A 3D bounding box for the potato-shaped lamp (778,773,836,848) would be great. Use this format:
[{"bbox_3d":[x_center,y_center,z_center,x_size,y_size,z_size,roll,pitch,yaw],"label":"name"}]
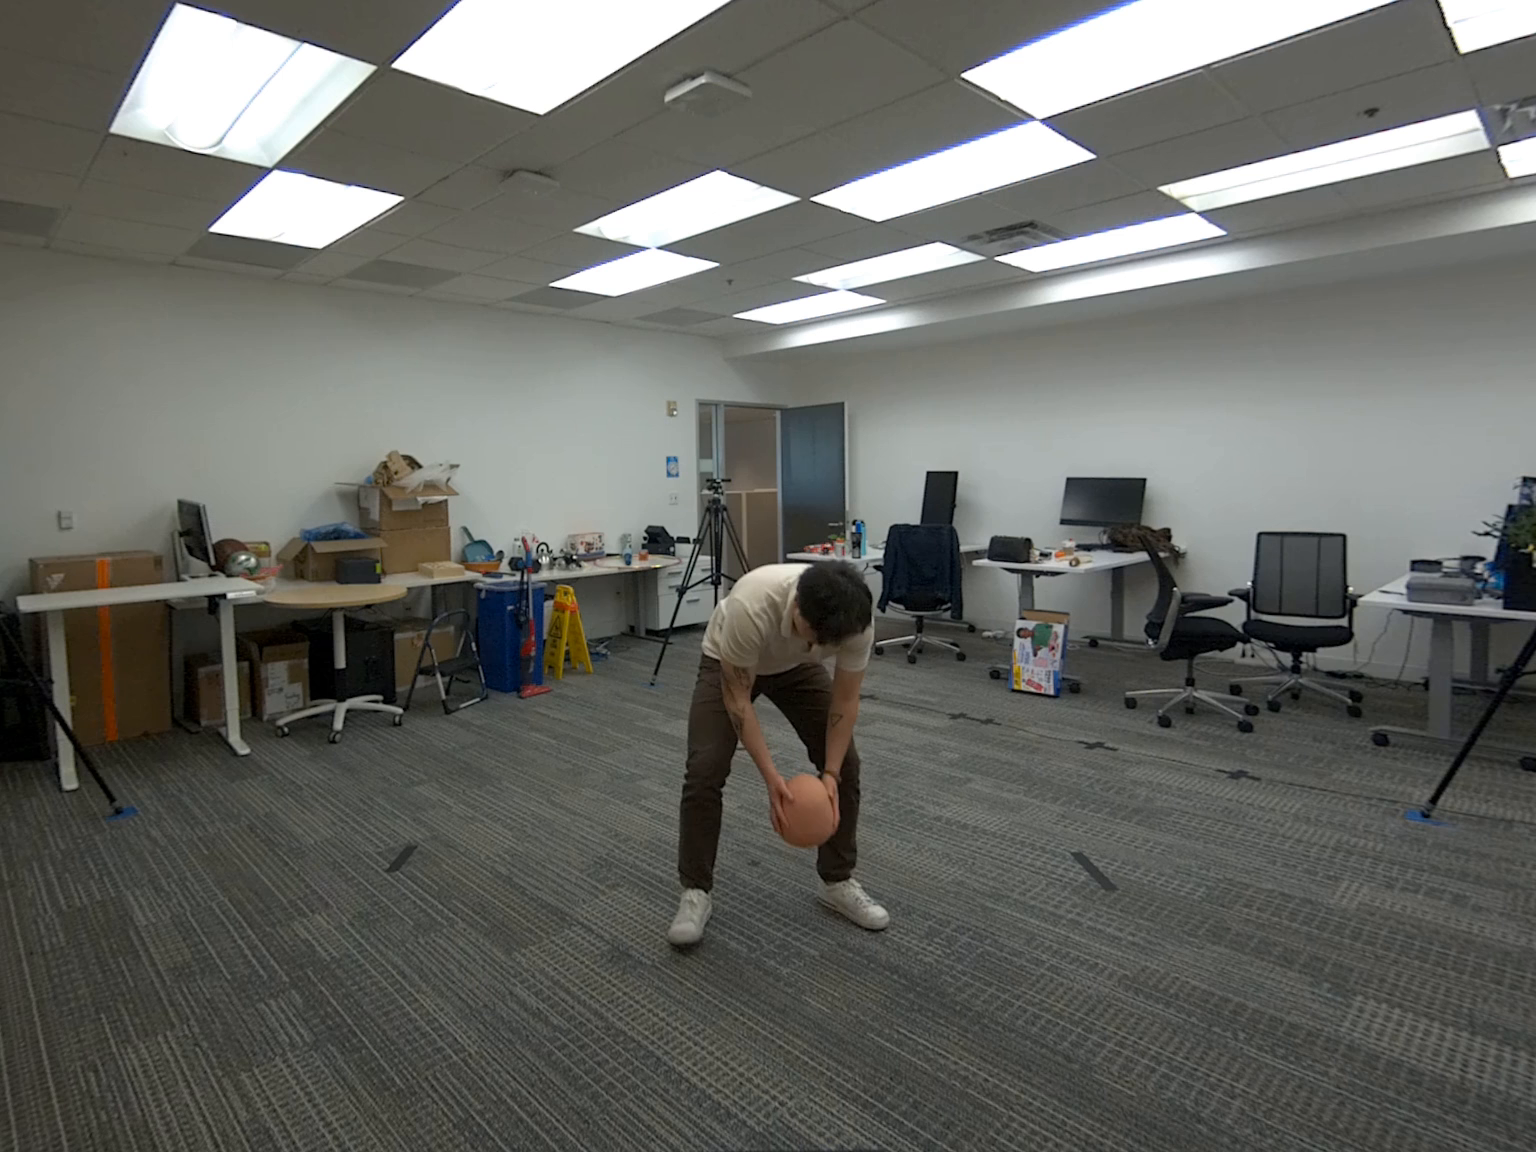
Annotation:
[{"bbox_3d":[0.097,0.675,2.490,0.166,0.200,0.169,-12,-8,9],"label":"potato-shaped lamp"}]
